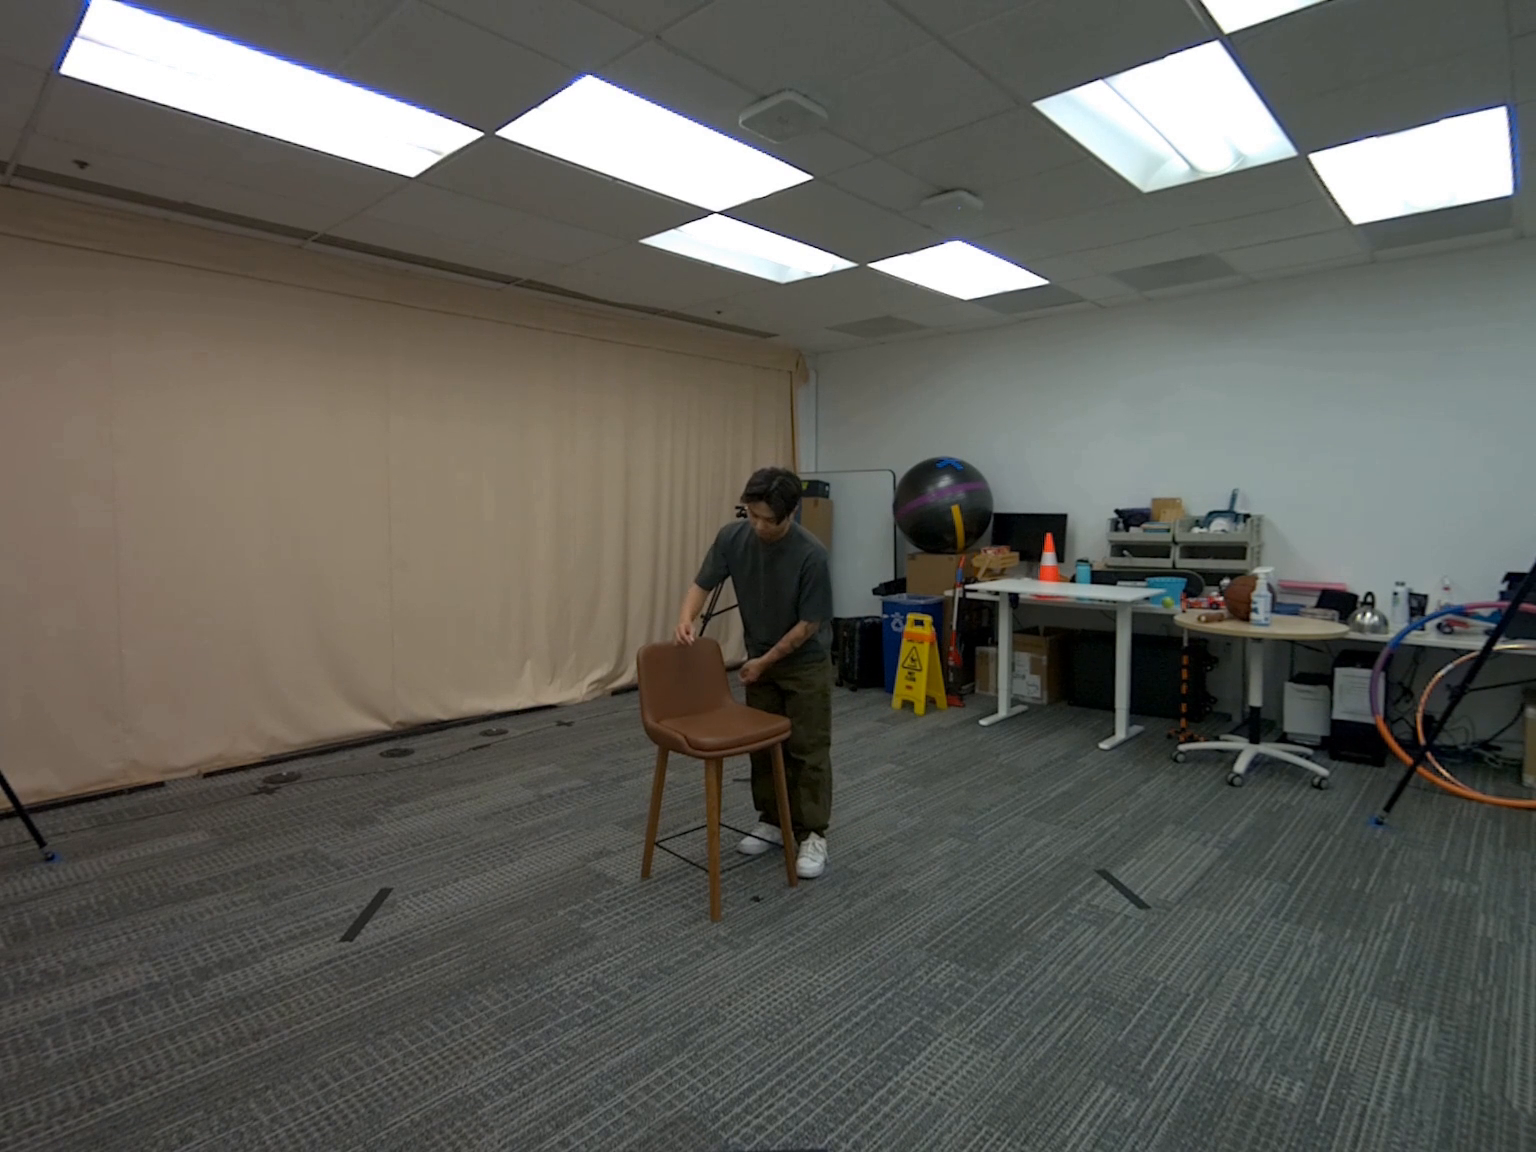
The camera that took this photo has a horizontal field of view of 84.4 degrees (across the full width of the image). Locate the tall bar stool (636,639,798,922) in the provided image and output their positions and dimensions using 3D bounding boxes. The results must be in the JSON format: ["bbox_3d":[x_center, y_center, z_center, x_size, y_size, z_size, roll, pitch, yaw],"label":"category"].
[{"bbox_3d":[-0.198,0.701,3.093,0.442,0.889,0.483,-3,2,-42],"label":"tall bar stool"}]
